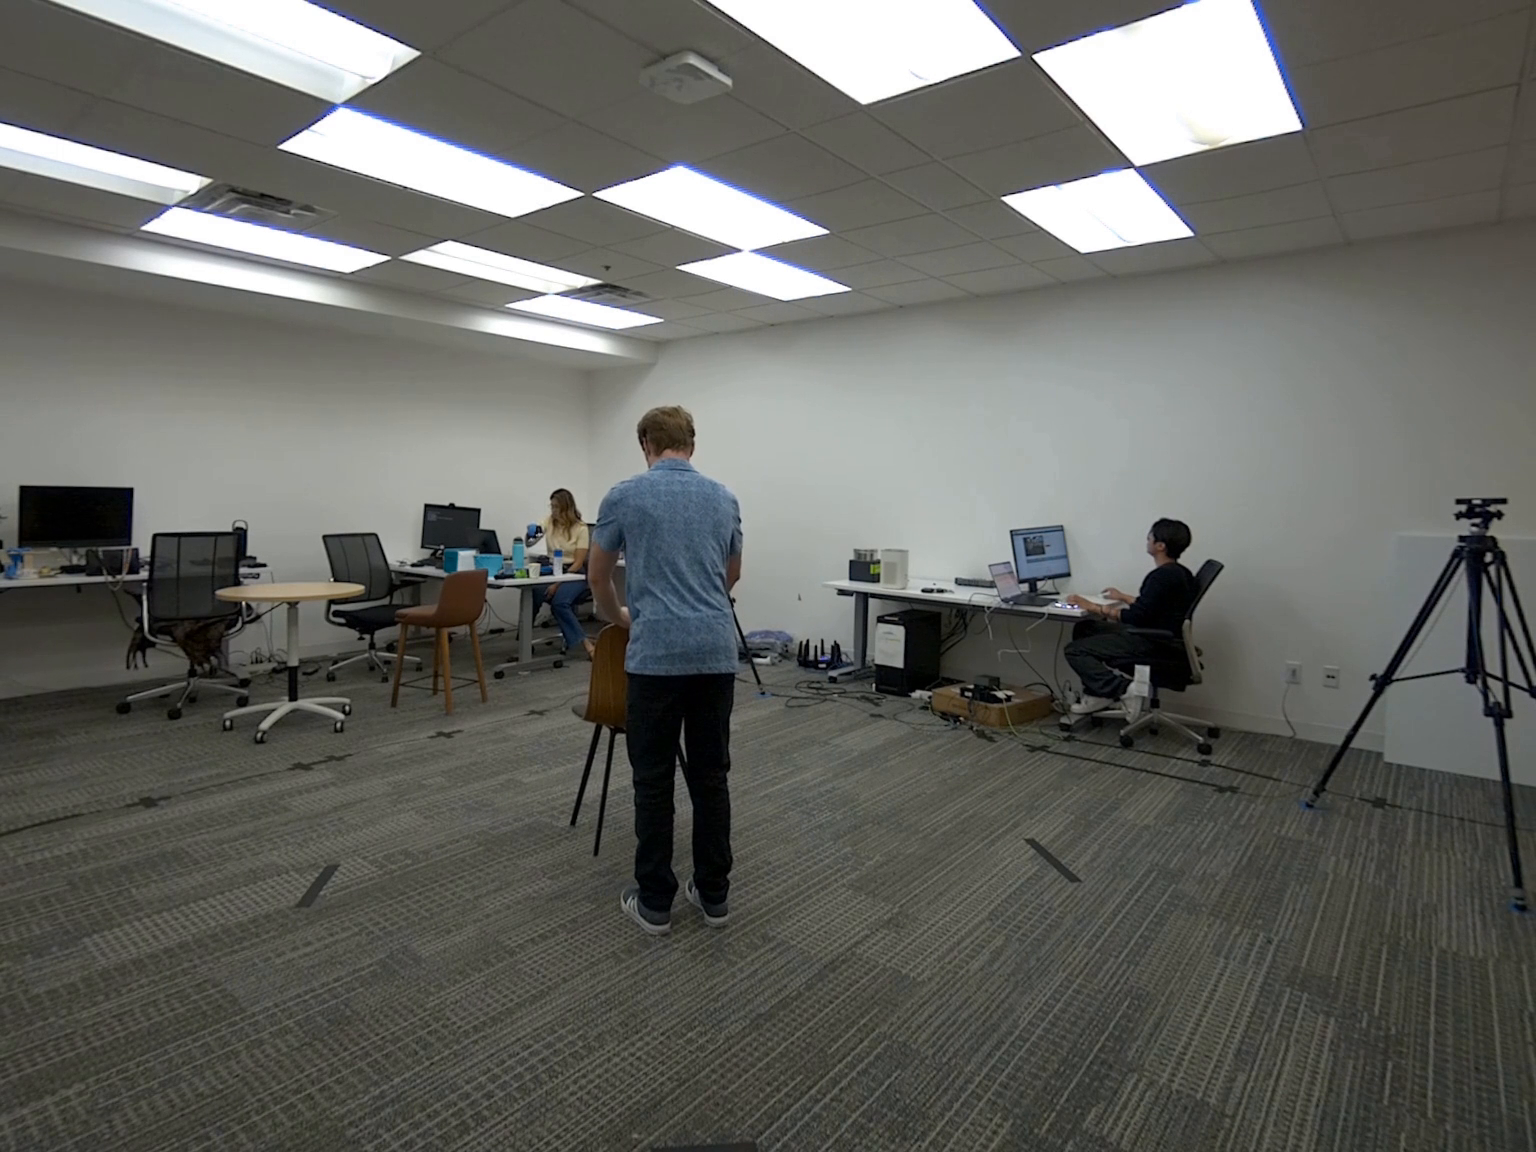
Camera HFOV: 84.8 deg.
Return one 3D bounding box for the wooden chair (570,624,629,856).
[{"bbox_3d":[-0.551,0.586,3.387,0.468,0.877,0.535,-1,1,-23],"label":"wooden chair"}]
